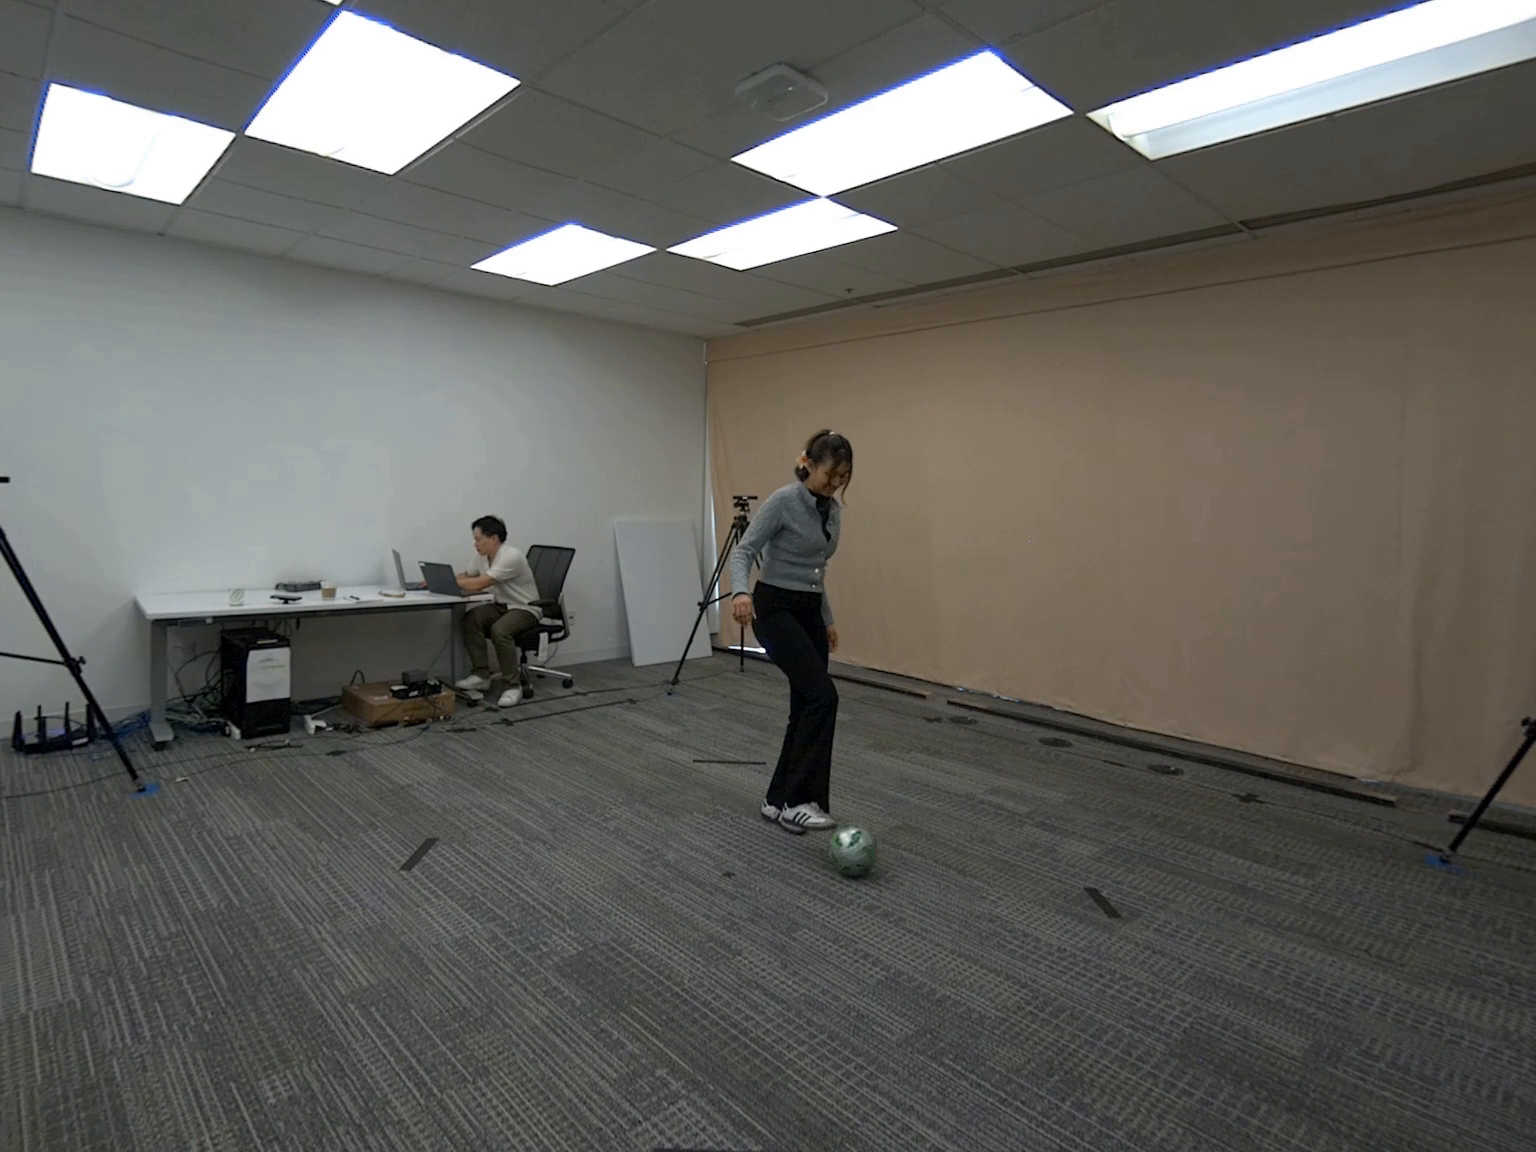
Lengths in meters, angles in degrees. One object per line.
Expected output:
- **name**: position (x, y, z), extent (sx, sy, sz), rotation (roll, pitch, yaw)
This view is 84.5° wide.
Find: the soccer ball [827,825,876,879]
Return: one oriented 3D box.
- **soccer ball**: position (0.314, 1.013, 3.124), extent (0.187, 0.187, 0.188), rotation (1, 4, -1)
